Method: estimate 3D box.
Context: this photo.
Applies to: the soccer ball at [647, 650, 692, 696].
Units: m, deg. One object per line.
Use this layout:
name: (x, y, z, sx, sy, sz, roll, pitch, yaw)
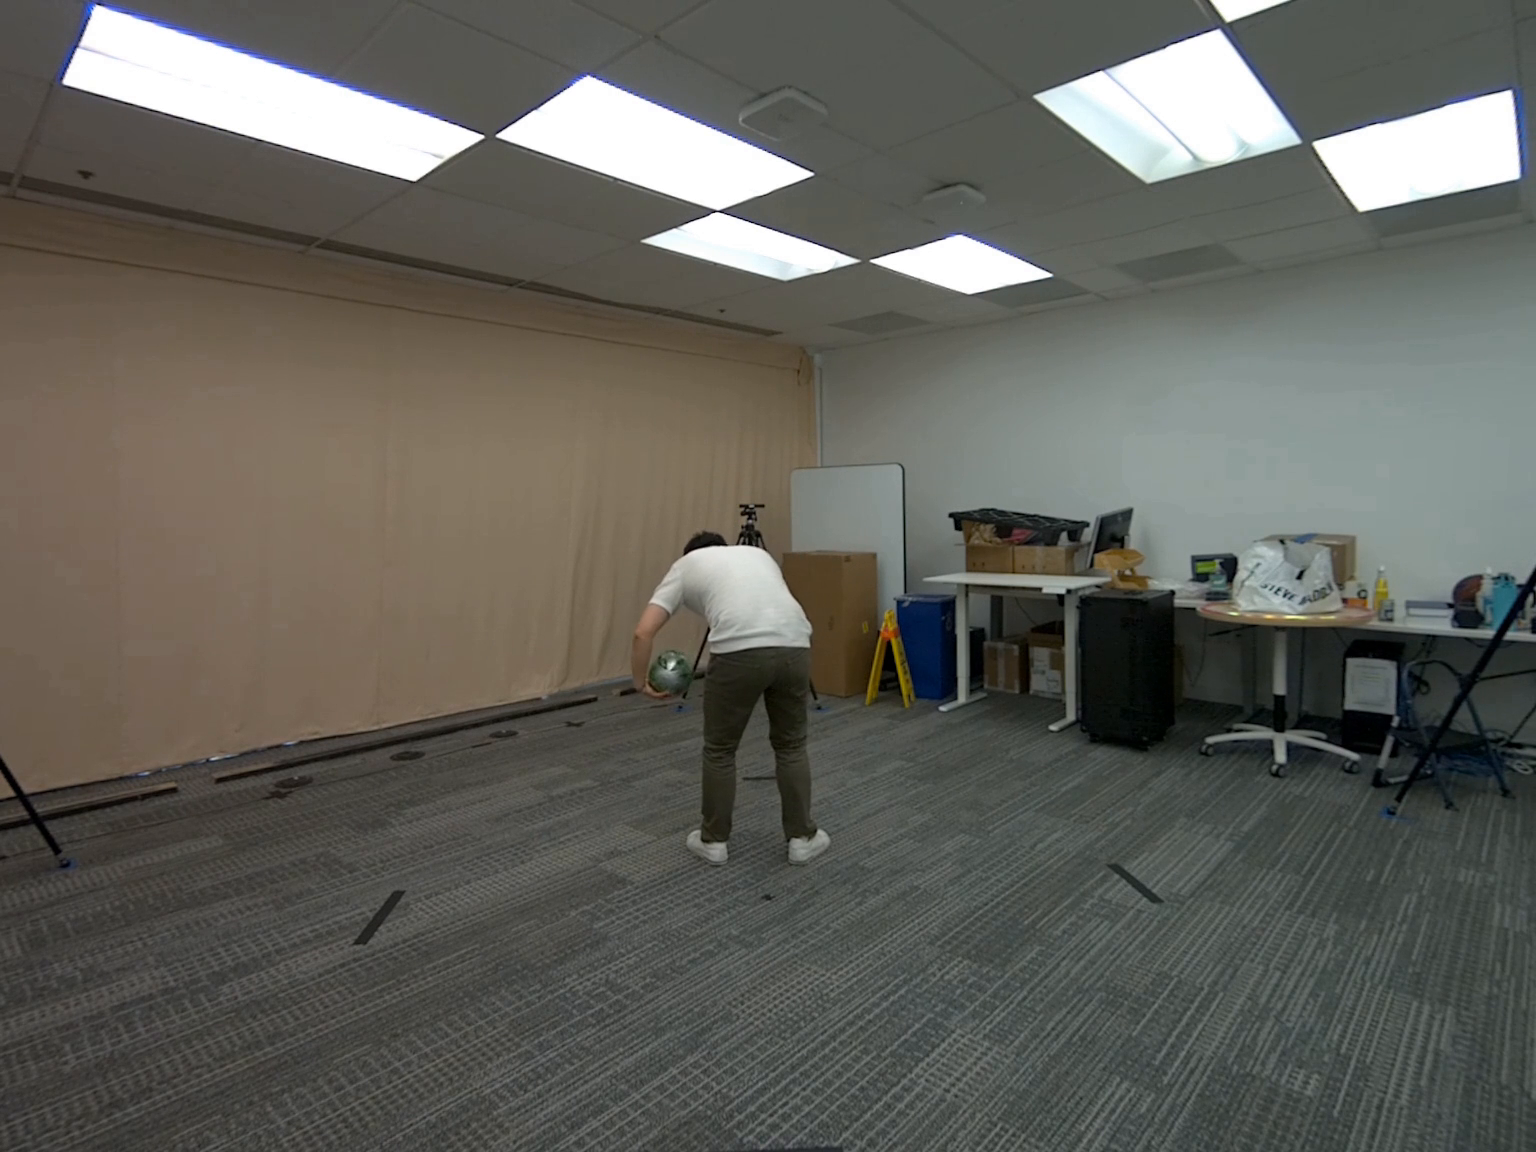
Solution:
soccer ball: (-0.380, 0.398, 3.374, 0.187, 0.187, 0.188, -1, 4, -2)
